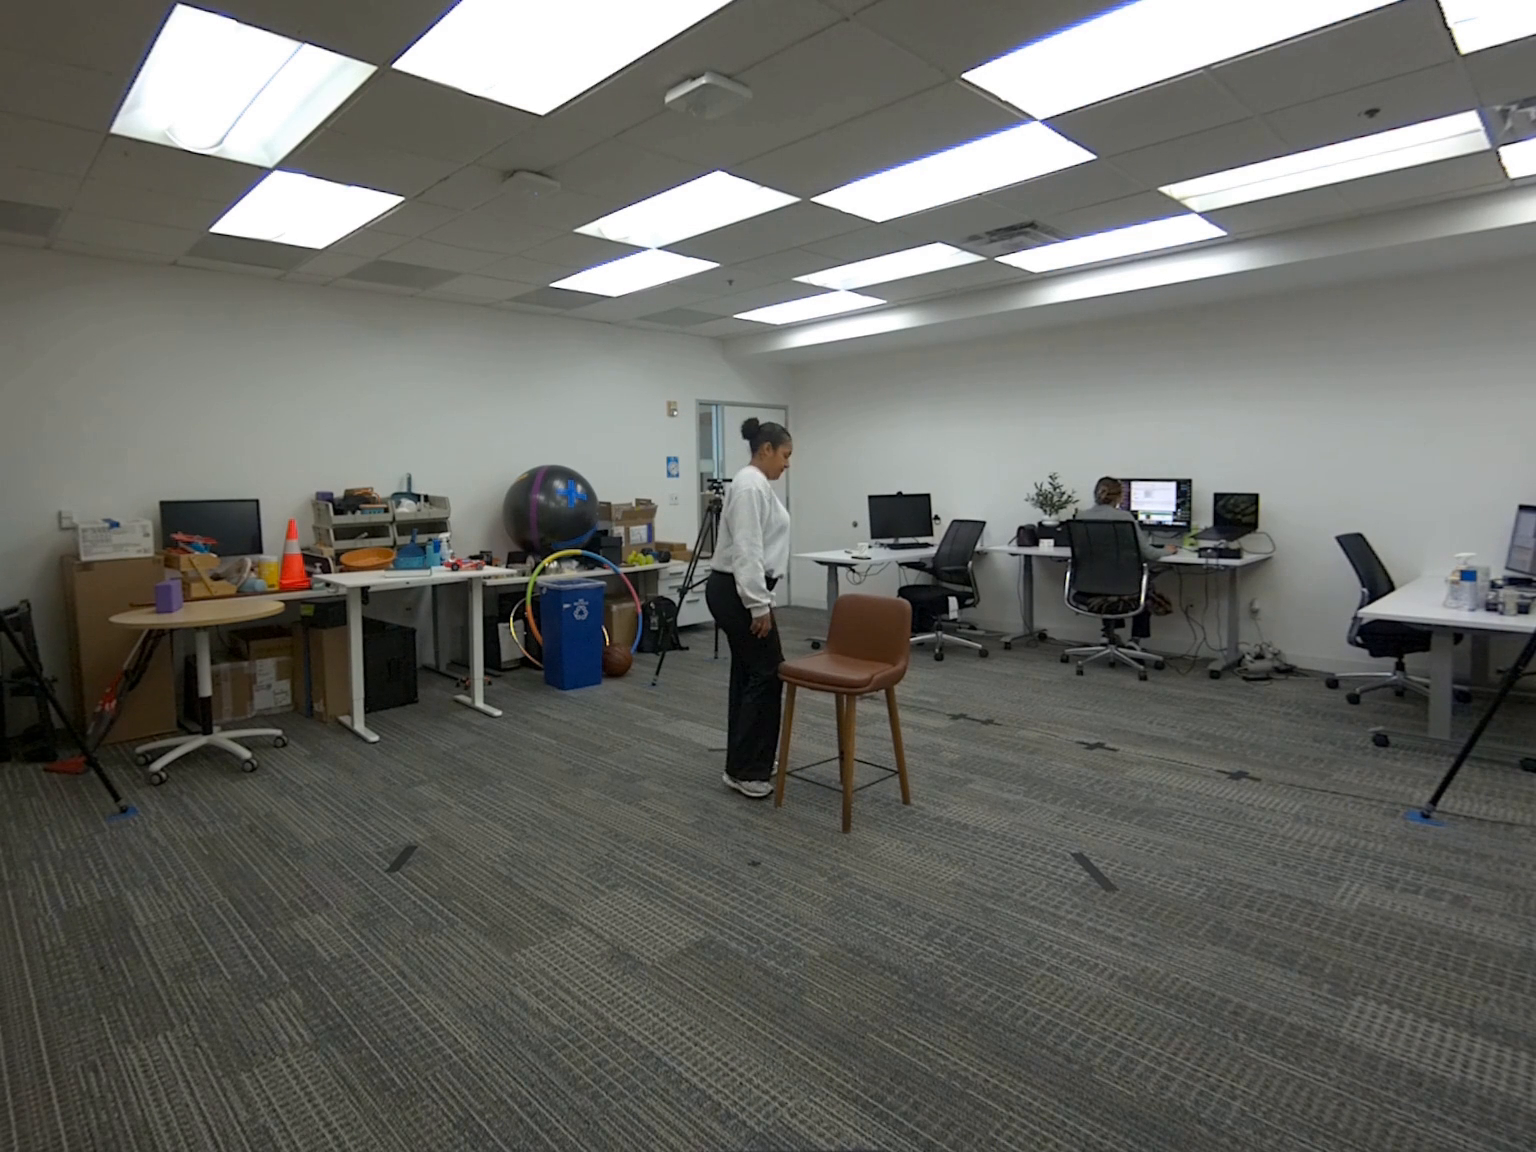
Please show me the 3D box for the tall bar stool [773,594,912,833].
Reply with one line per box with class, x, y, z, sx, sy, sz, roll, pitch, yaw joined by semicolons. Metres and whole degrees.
tall bar stool;0.331;0.545;3.625;0.454;0.888;0.471;-1;4;-43
